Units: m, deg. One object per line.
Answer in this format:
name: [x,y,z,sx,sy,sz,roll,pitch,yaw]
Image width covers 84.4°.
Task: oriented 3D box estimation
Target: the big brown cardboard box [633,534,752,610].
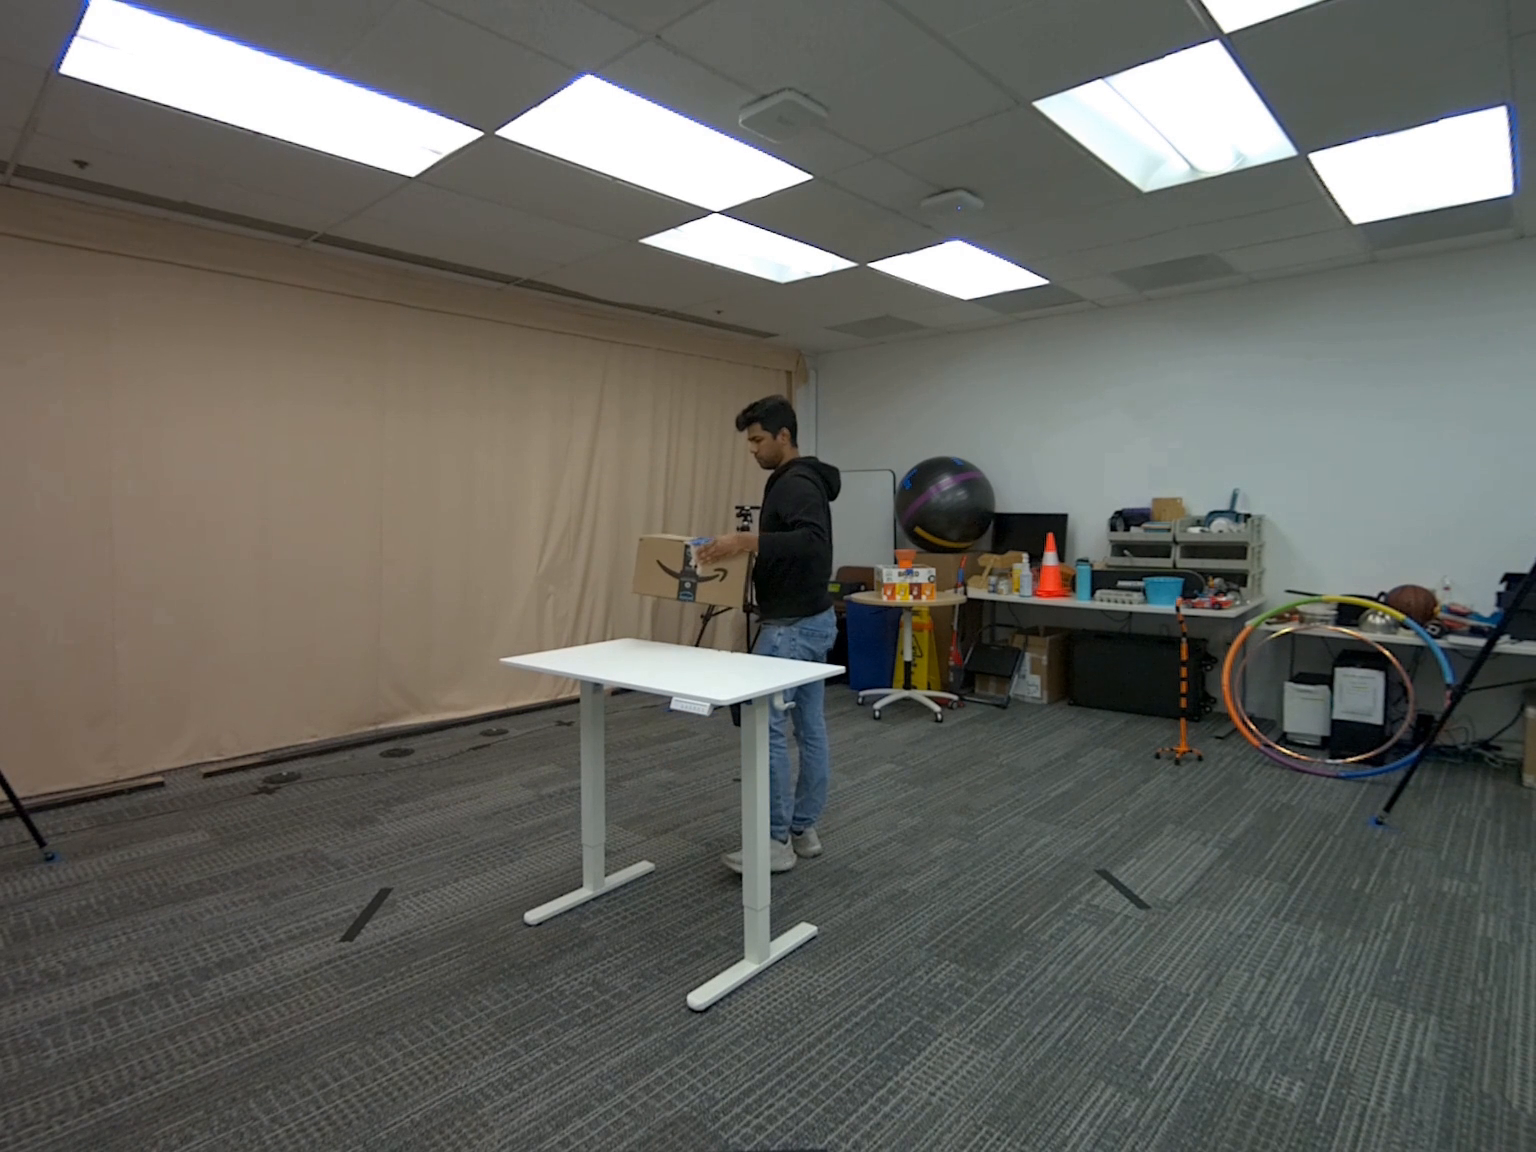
big brown cardboard box: [-0.268,-0.035,3.387,0.419,0.232,0.588,6,5,3]
